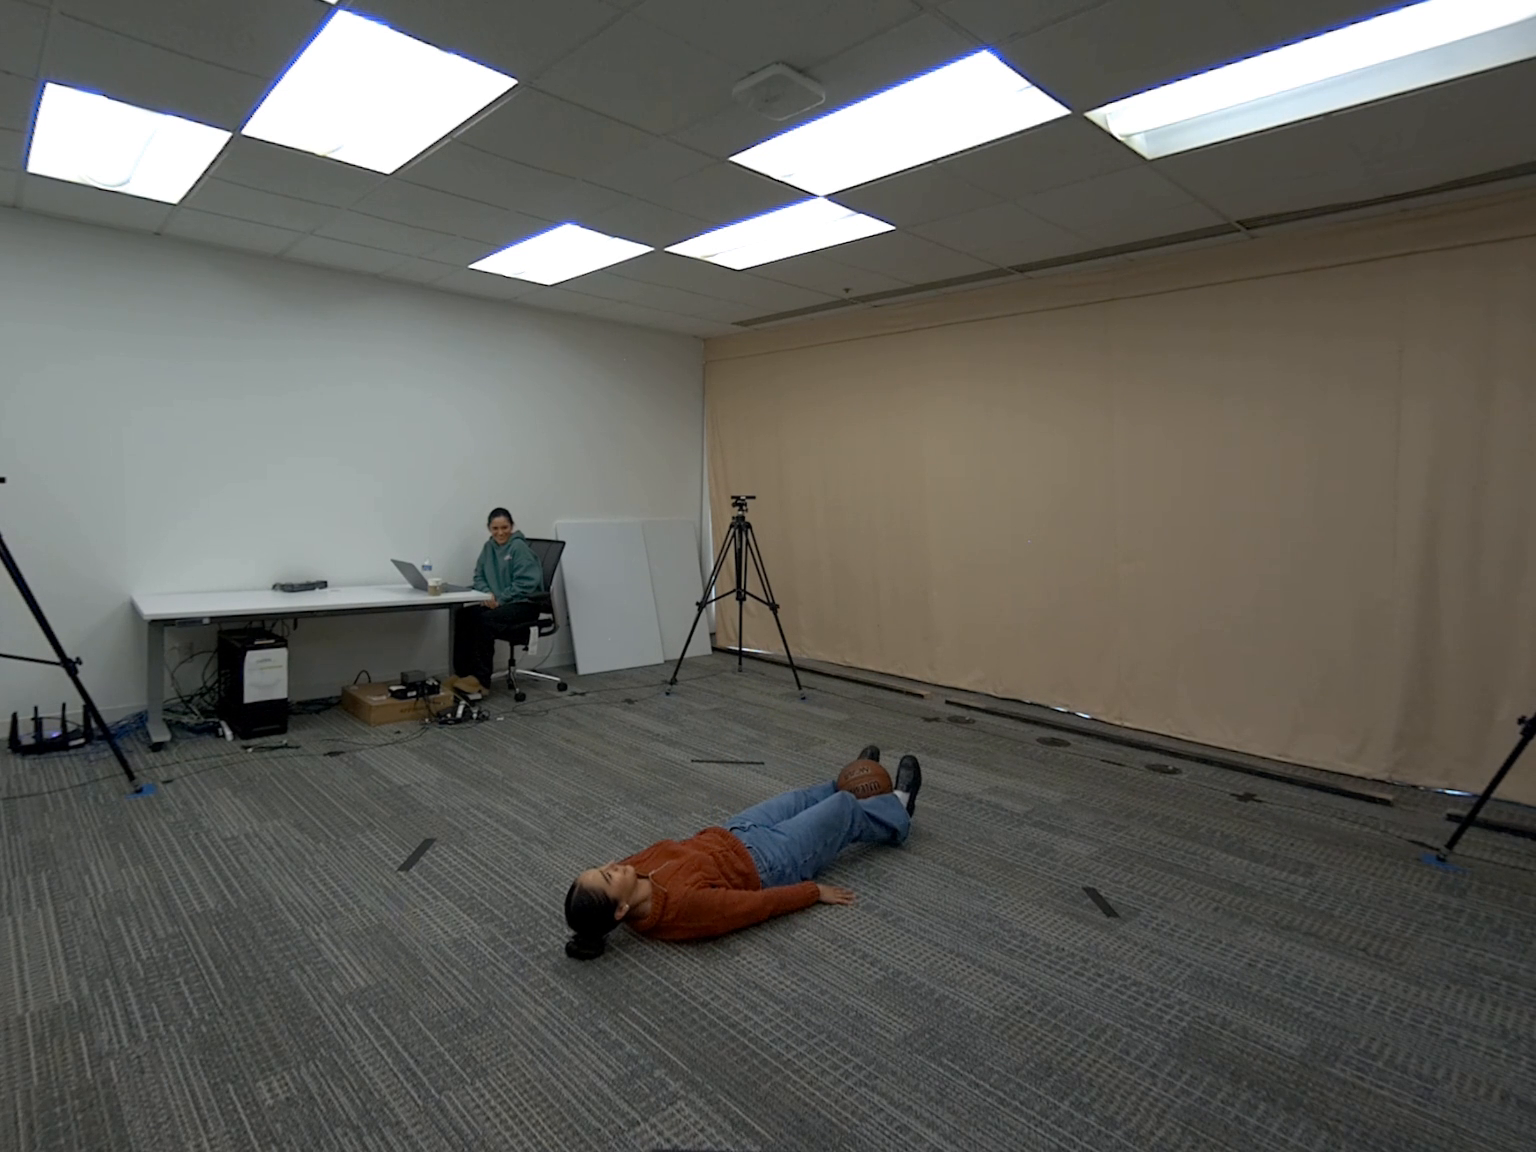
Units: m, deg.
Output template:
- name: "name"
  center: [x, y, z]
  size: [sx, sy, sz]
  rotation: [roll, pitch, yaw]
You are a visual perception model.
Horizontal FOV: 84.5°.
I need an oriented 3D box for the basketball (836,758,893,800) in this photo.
- name: "basketball"
  center: [0.405, 0.892, 3.554]
  size: [0.236, 0.235, 0.237]
  rotation: [1, 4, -1]
